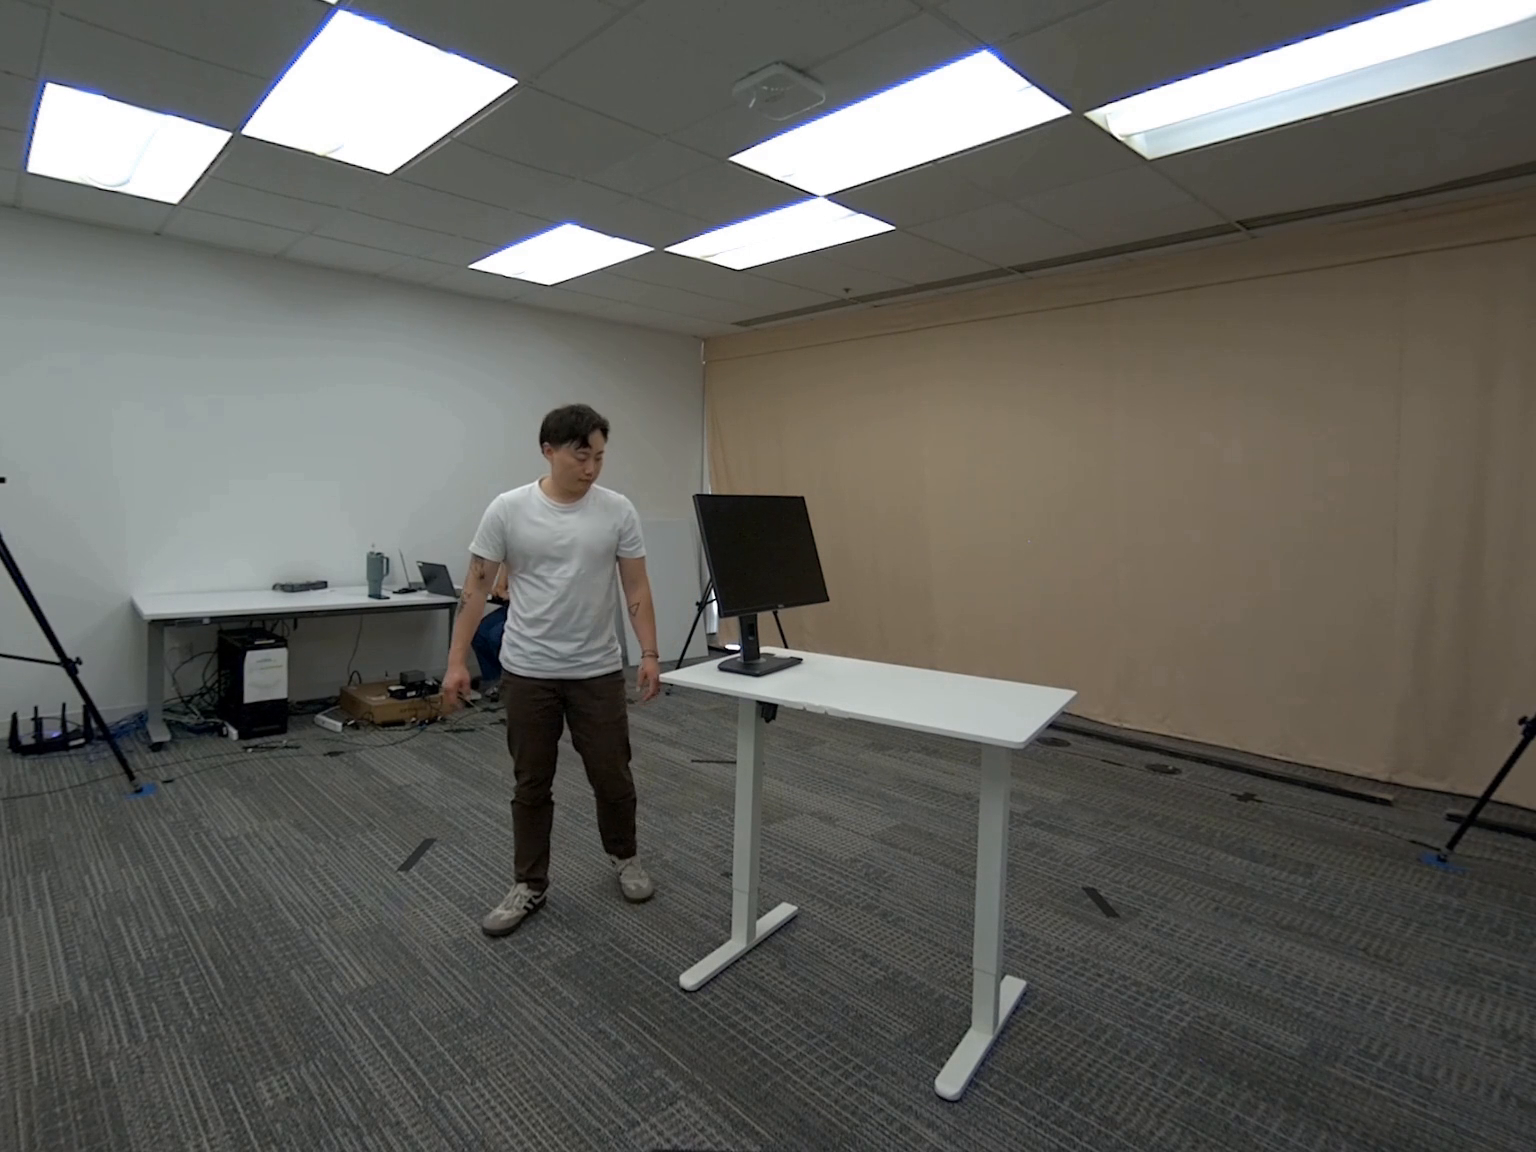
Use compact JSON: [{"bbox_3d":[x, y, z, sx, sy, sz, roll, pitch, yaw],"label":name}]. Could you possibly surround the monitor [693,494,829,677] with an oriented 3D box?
[{"bbox_3d":[-0.035,0.018,2.522,0.191,0.522,0.528,0,3,35],"label":"monitor"}]
